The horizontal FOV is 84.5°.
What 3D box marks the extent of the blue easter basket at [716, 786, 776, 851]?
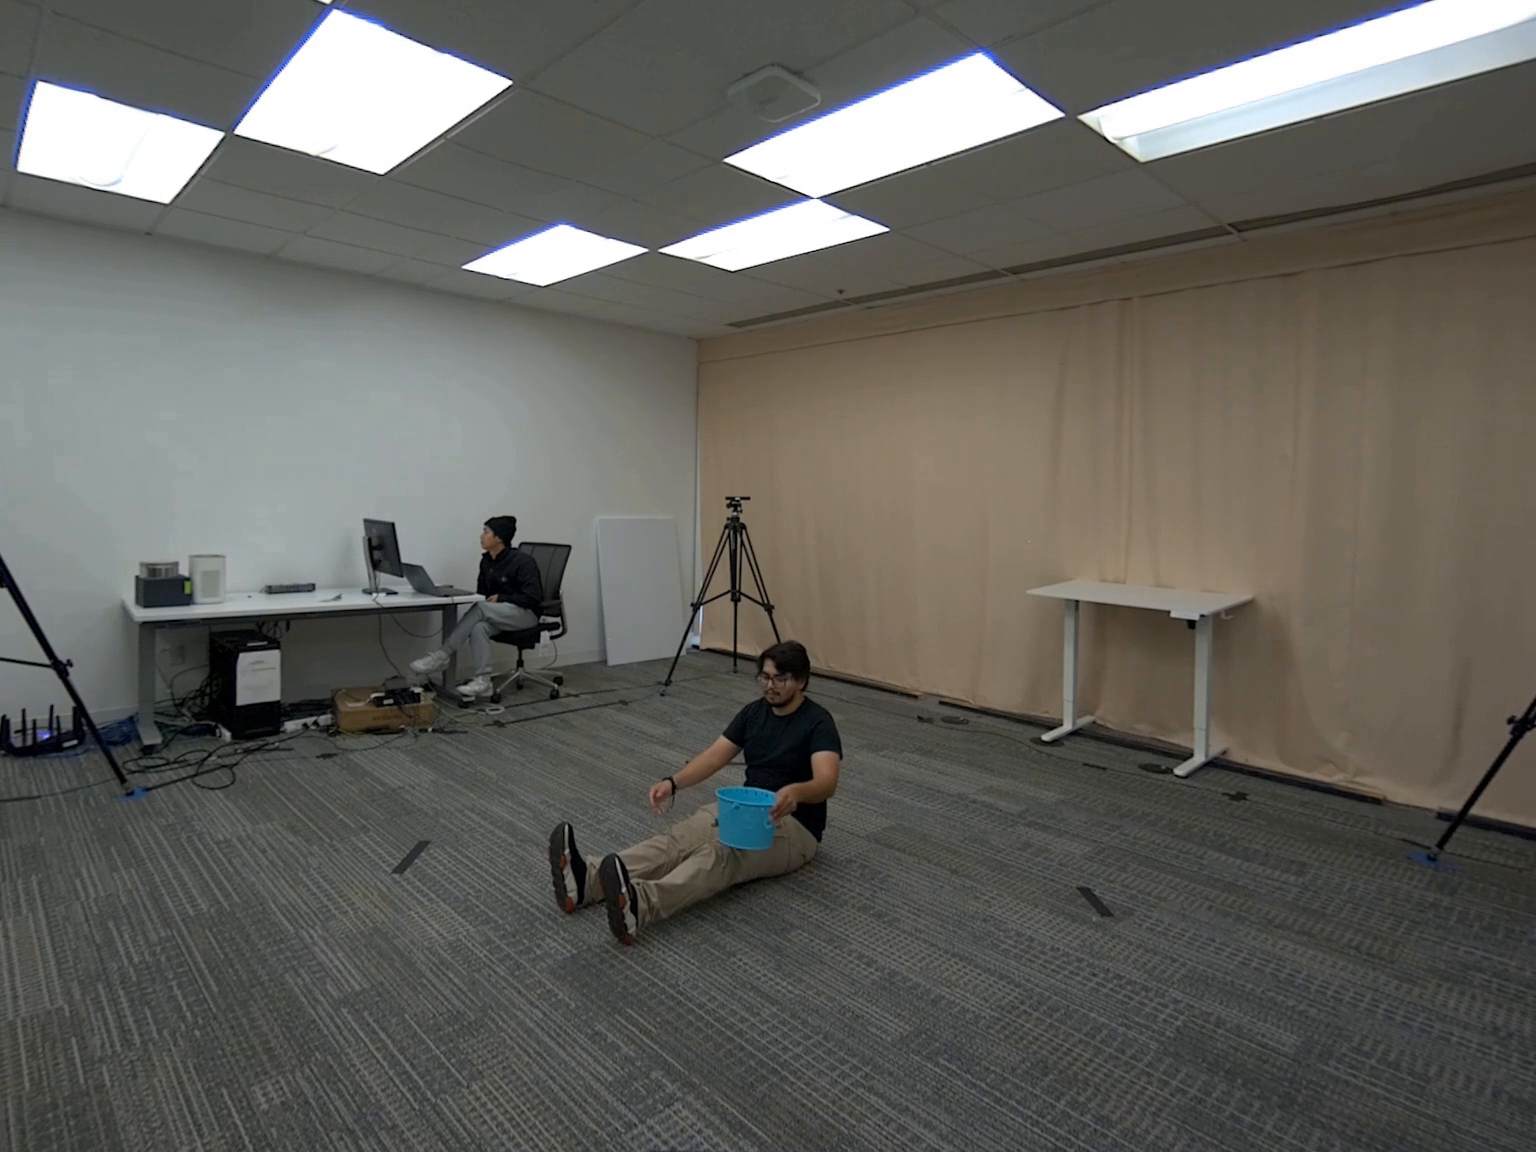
[{"bbox_3d":[-0.081,0.825,2.845,0.243,0.156,0.243,5,0,-1],"label":"blue easter basket"}]
